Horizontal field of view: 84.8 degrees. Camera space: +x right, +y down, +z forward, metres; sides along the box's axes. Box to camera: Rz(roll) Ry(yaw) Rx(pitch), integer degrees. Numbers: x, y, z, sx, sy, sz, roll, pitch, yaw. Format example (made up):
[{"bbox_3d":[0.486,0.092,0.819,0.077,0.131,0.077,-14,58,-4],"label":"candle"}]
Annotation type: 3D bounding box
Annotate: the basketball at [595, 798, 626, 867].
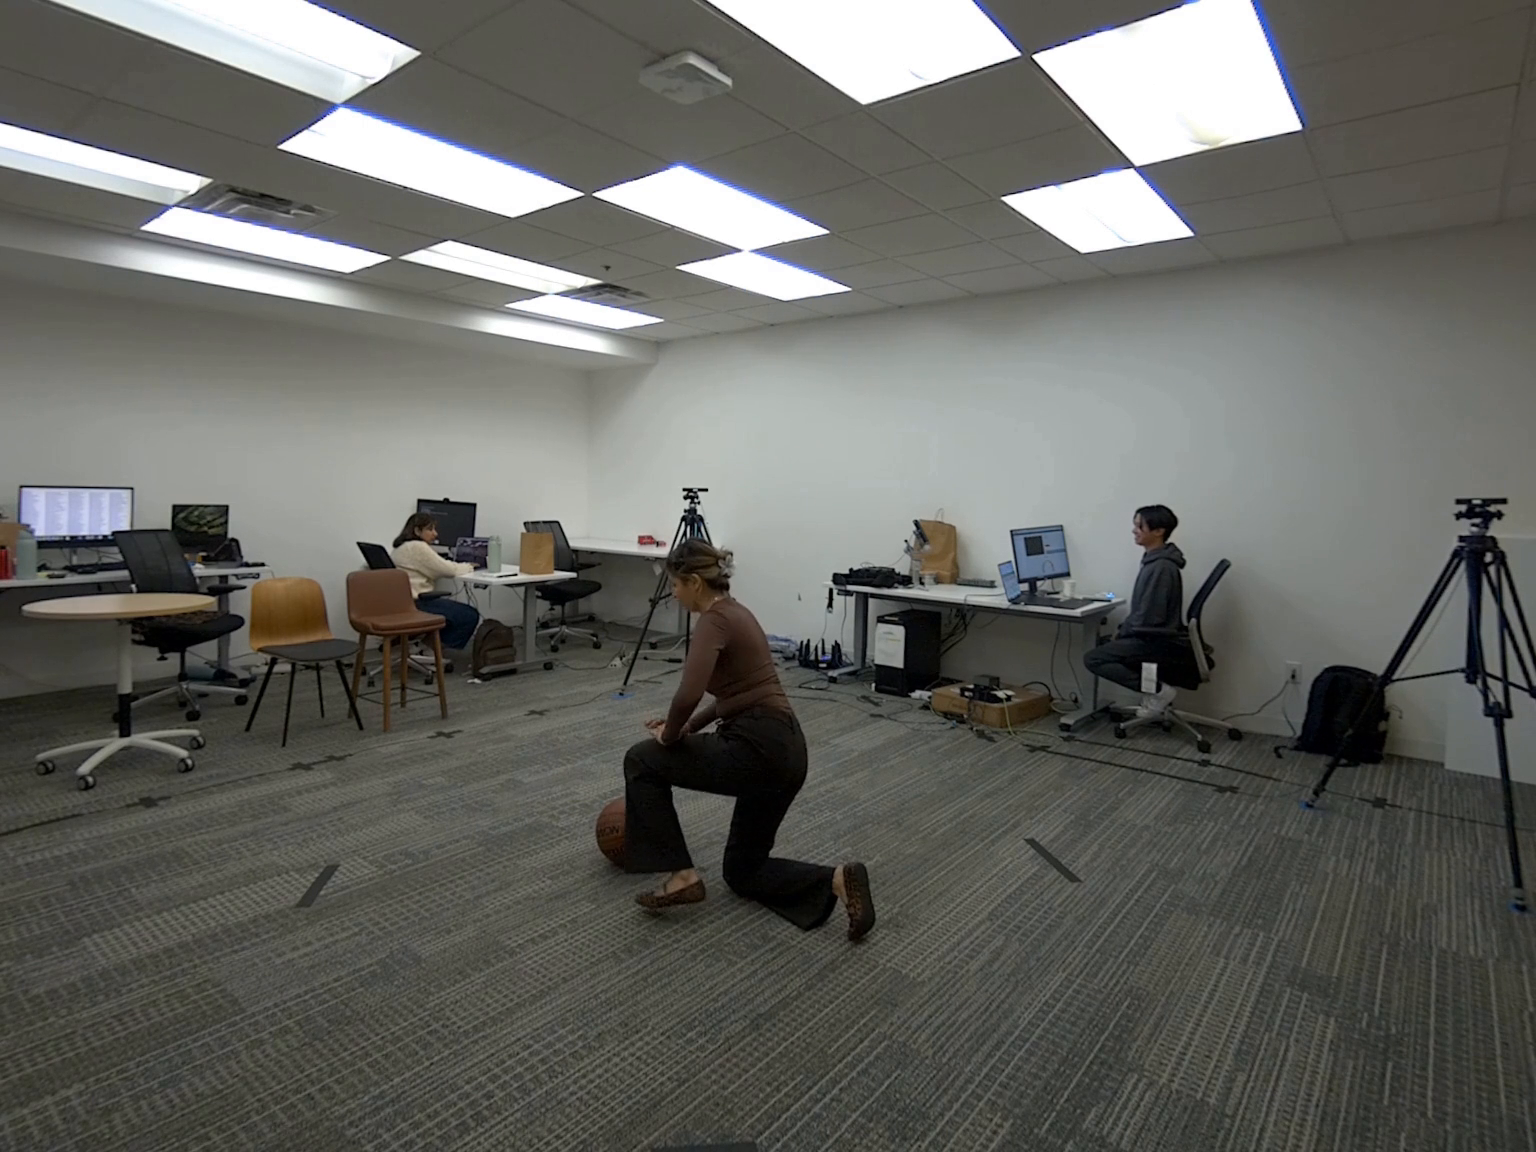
[{"bbox_3d":[-0.533,0.936,3.151,0.236,0.235,0.237,1,4,-2],"label":"basketball"}]
